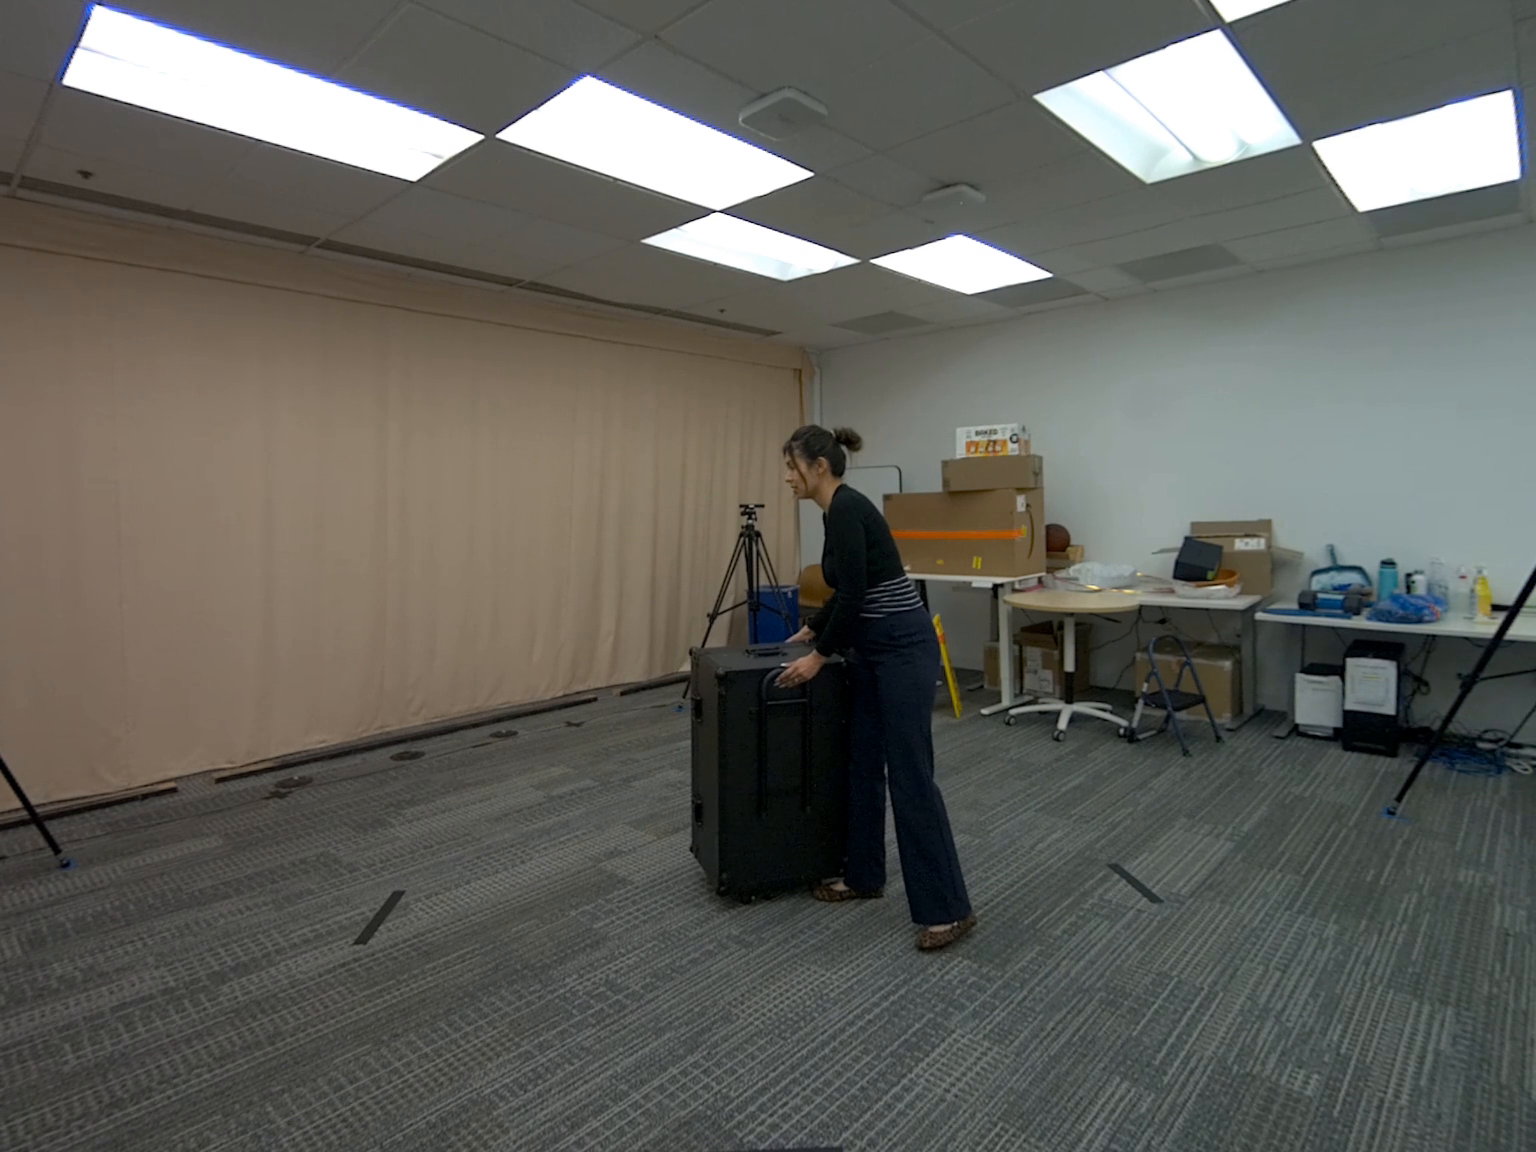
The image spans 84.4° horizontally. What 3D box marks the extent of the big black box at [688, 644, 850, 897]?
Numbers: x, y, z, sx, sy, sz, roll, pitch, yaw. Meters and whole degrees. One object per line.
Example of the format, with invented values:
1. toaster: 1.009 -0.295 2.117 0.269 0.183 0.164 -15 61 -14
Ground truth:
1. big black box: -0.008 0.643 3.036 0.512 0.858 0.405 -2 7 -18
